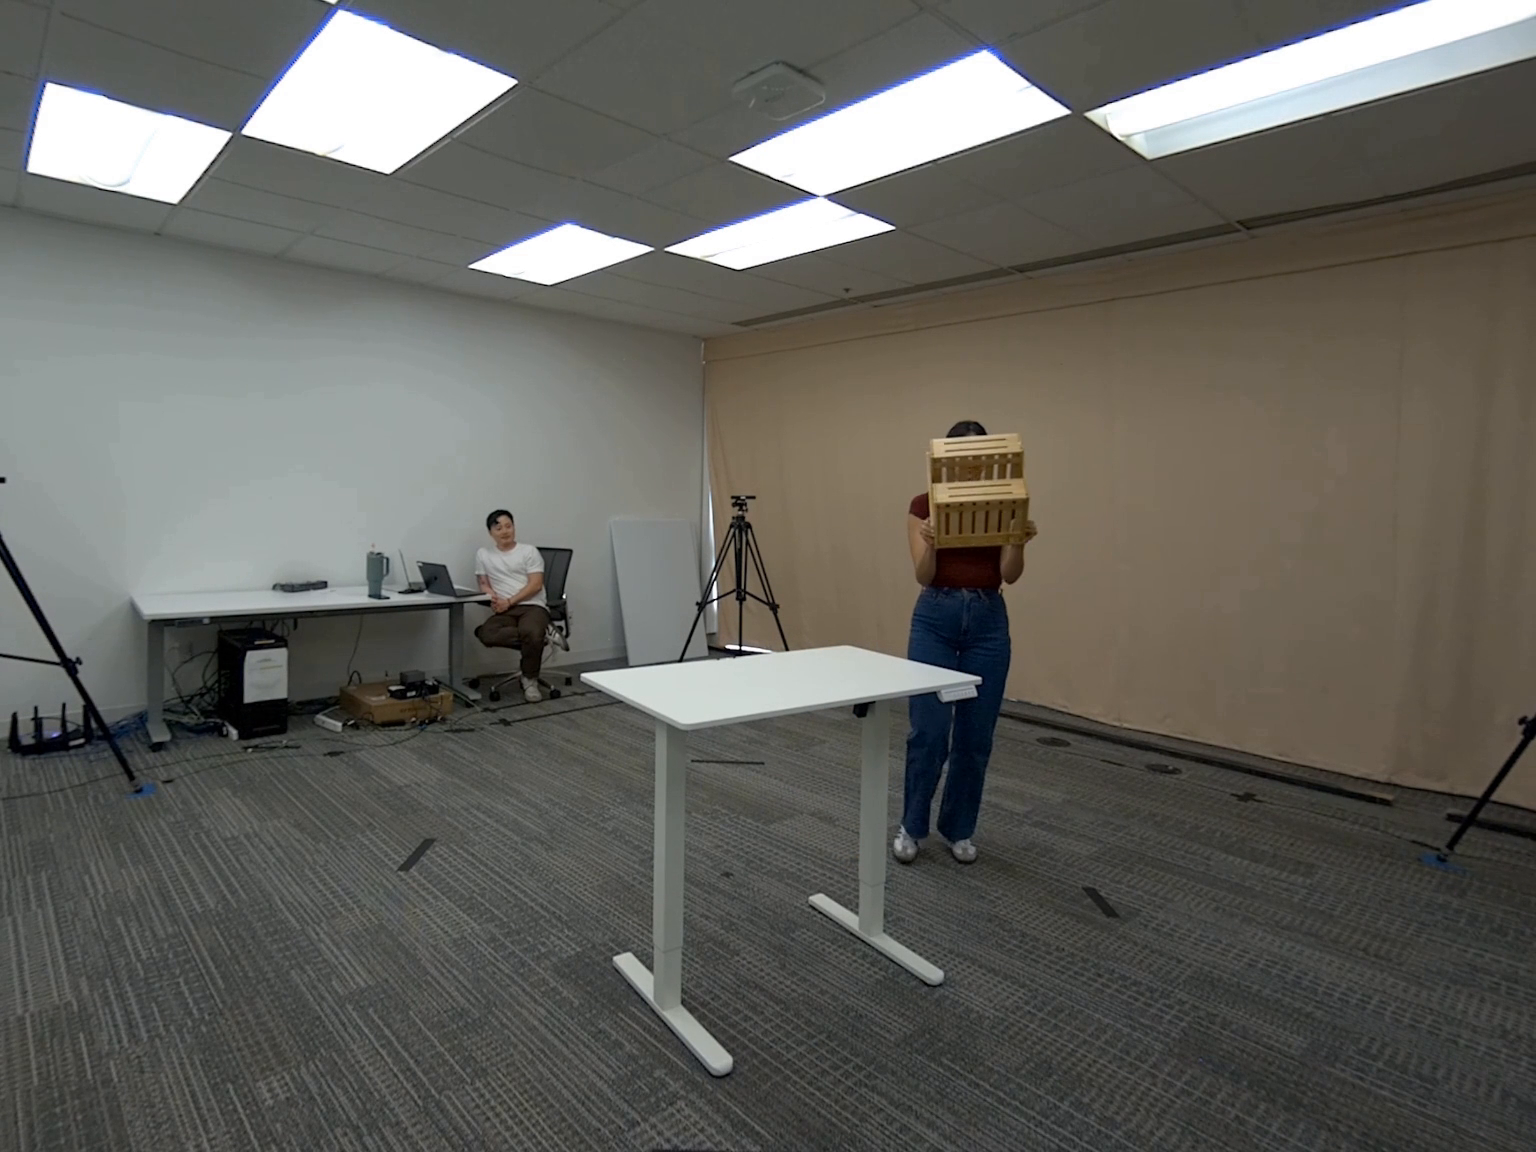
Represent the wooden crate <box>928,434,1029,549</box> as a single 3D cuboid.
[{"bbox_3d":[0.715,-0.283,2.921,0.326,0.278,0.294,-1,-40,8],"label":"wooden crate"}]
